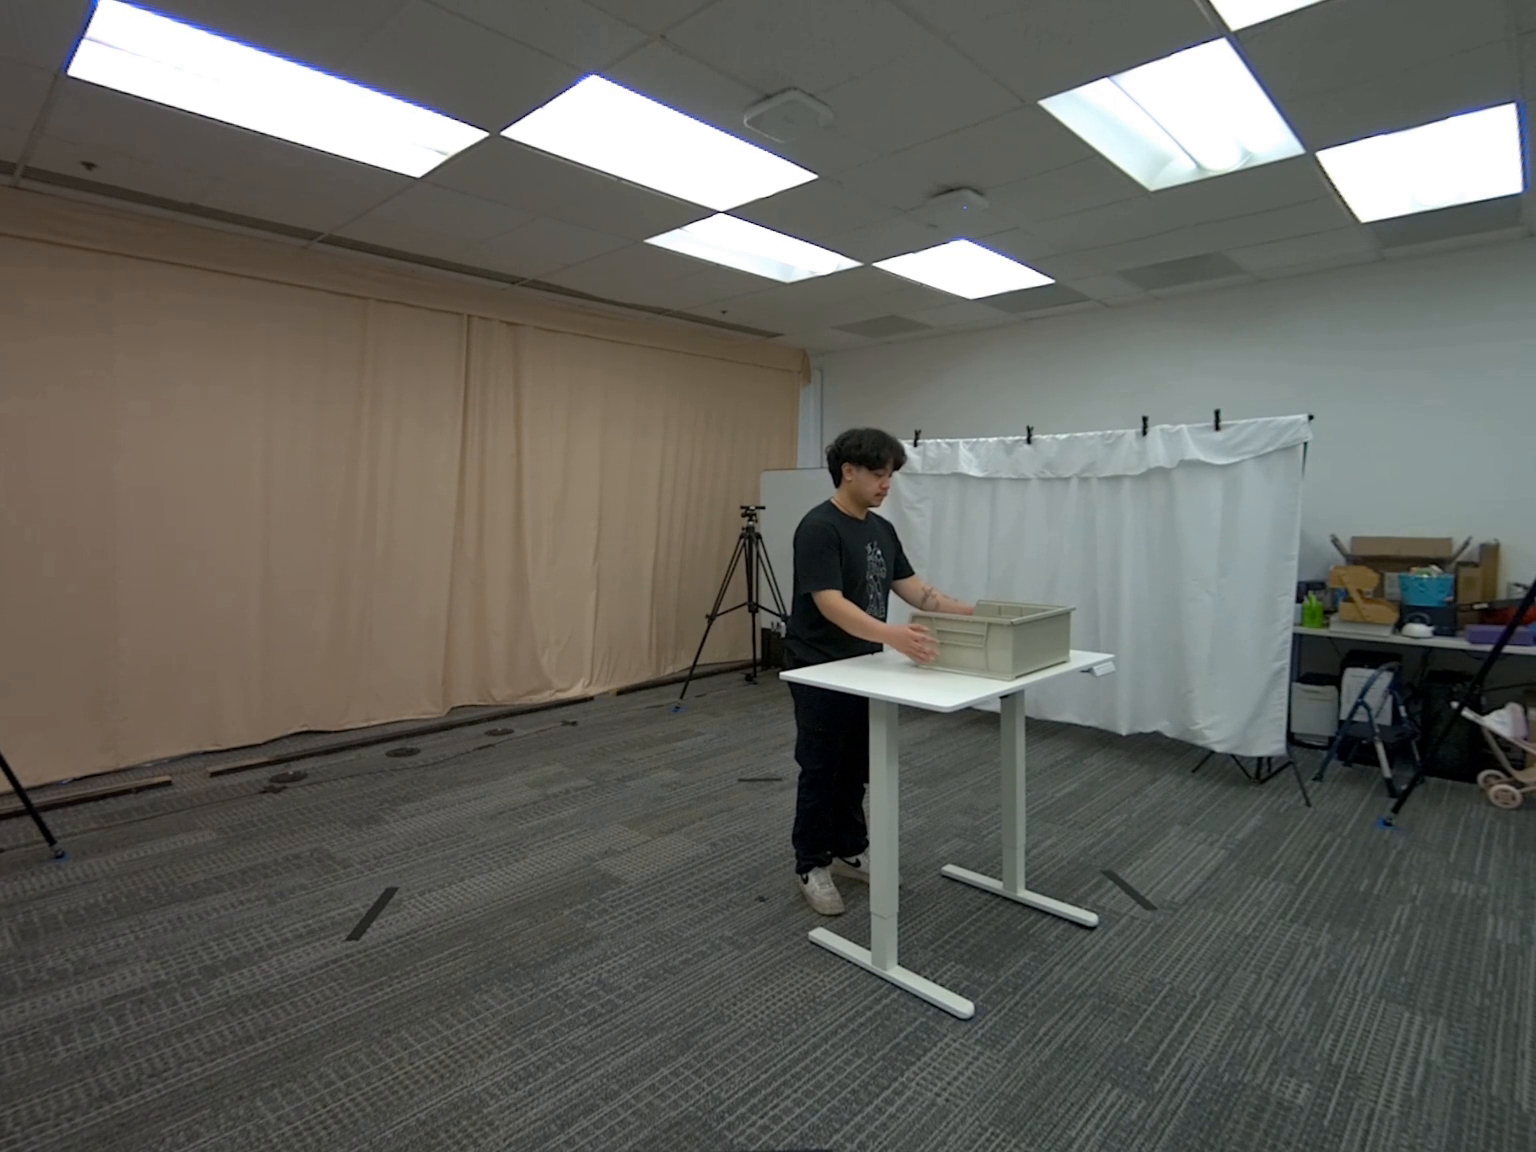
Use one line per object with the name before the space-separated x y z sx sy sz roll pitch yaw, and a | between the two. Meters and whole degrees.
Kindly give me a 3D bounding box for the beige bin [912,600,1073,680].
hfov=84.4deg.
beige bin | 0.722 0.201 2.683 0.409 0.188 0.390 -5 7 -44
